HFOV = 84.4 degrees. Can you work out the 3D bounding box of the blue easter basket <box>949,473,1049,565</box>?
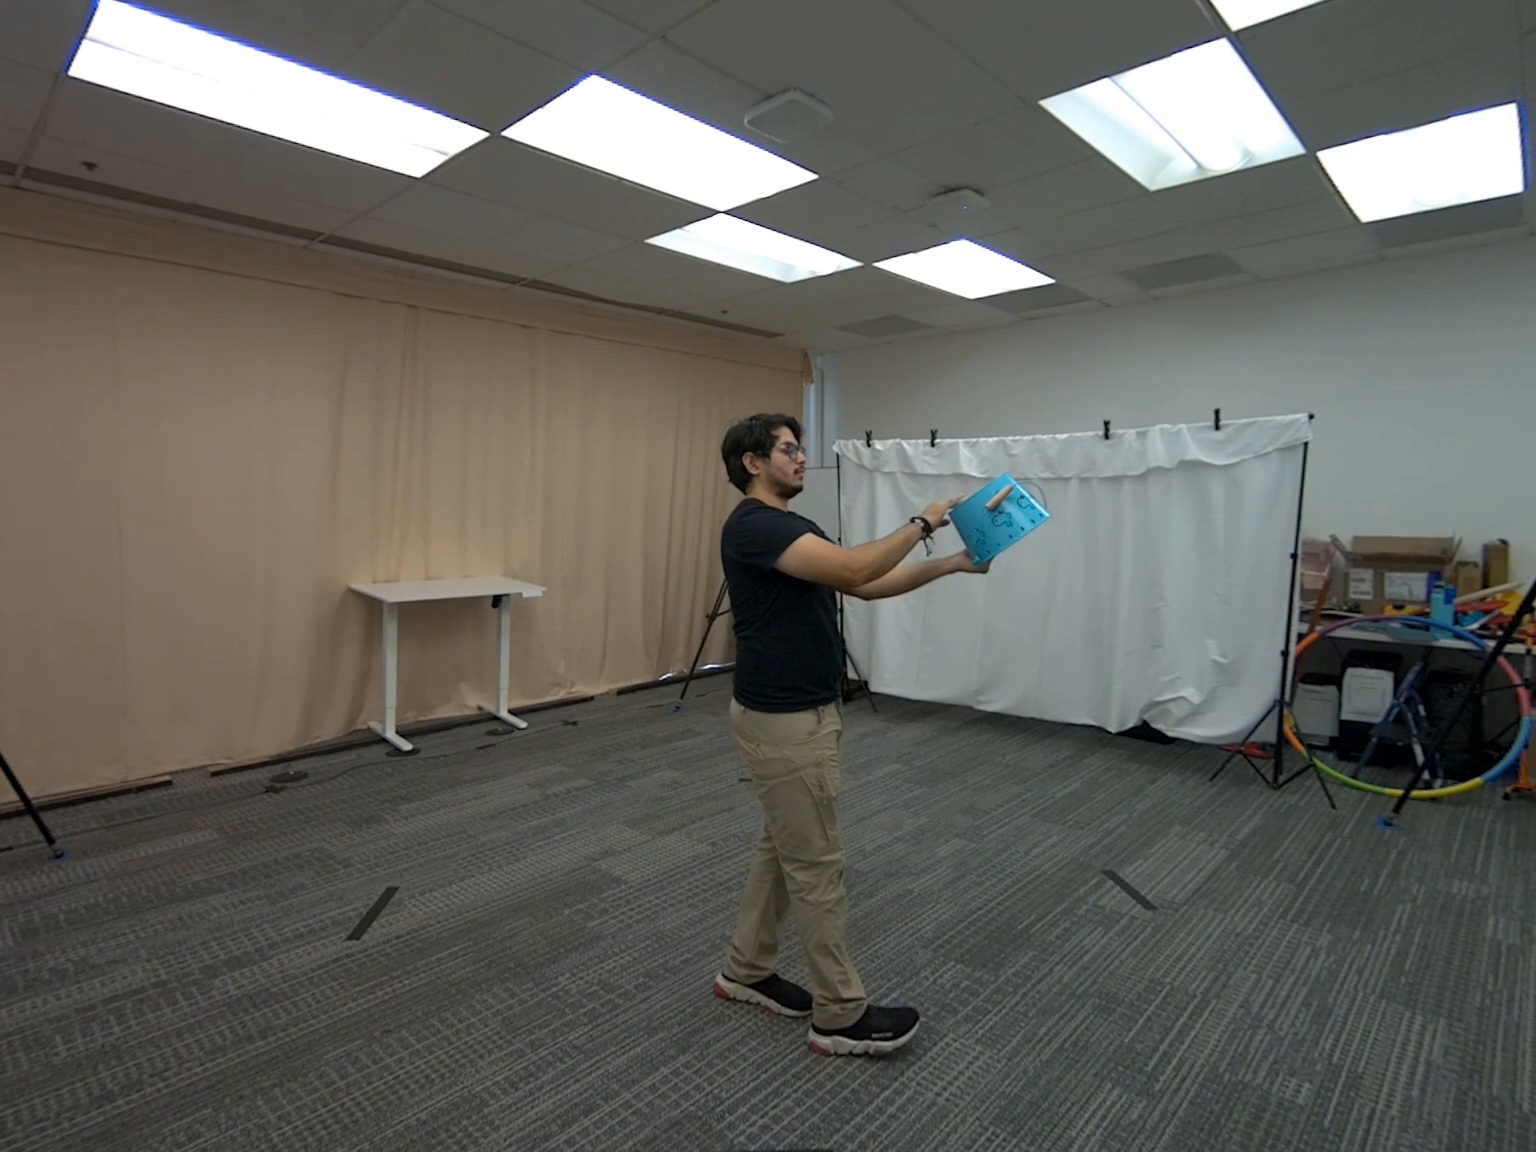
[{"bbox_3d":[0.589,-0.157,2.129,0.243,0.157,0.242,-35,-6,-7],"label":"blue easter basket"}]
